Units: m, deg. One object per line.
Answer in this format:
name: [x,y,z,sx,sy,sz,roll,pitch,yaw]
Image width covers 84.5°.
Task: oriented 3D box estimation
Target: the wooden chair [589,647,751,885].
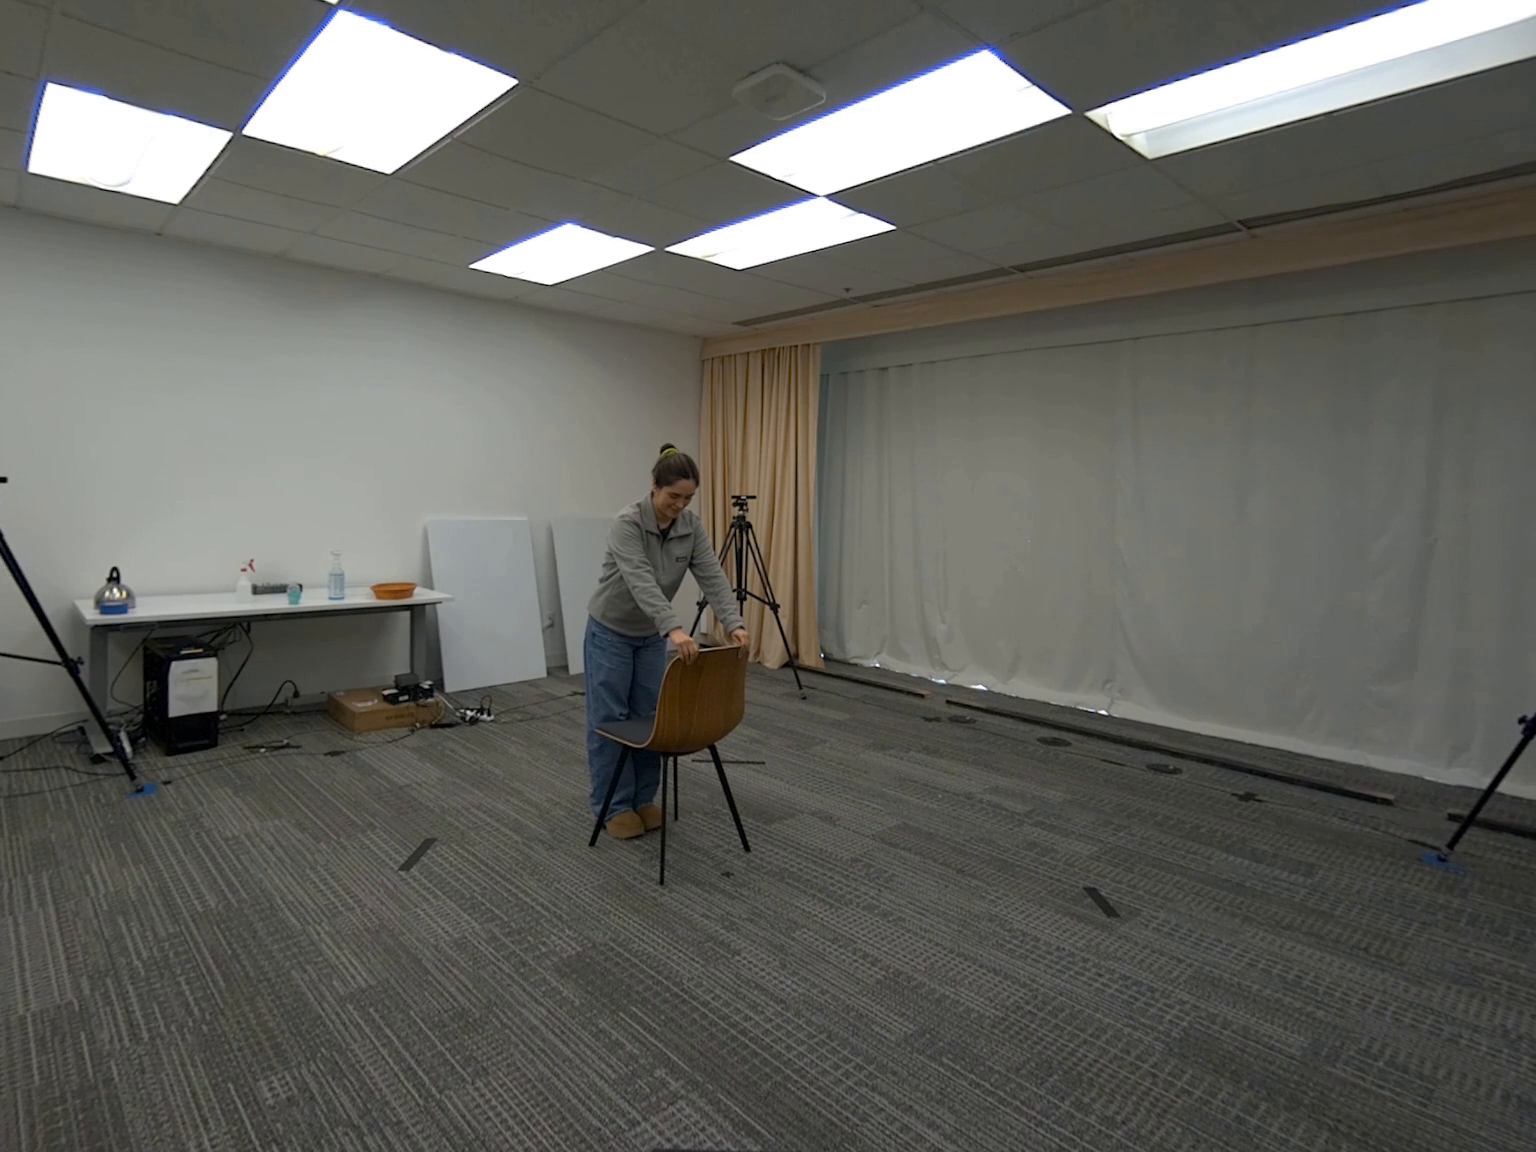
wooden chair: [-0.383,0.654,3.286,0.467,0.874,0.537,-2,9,-45]
